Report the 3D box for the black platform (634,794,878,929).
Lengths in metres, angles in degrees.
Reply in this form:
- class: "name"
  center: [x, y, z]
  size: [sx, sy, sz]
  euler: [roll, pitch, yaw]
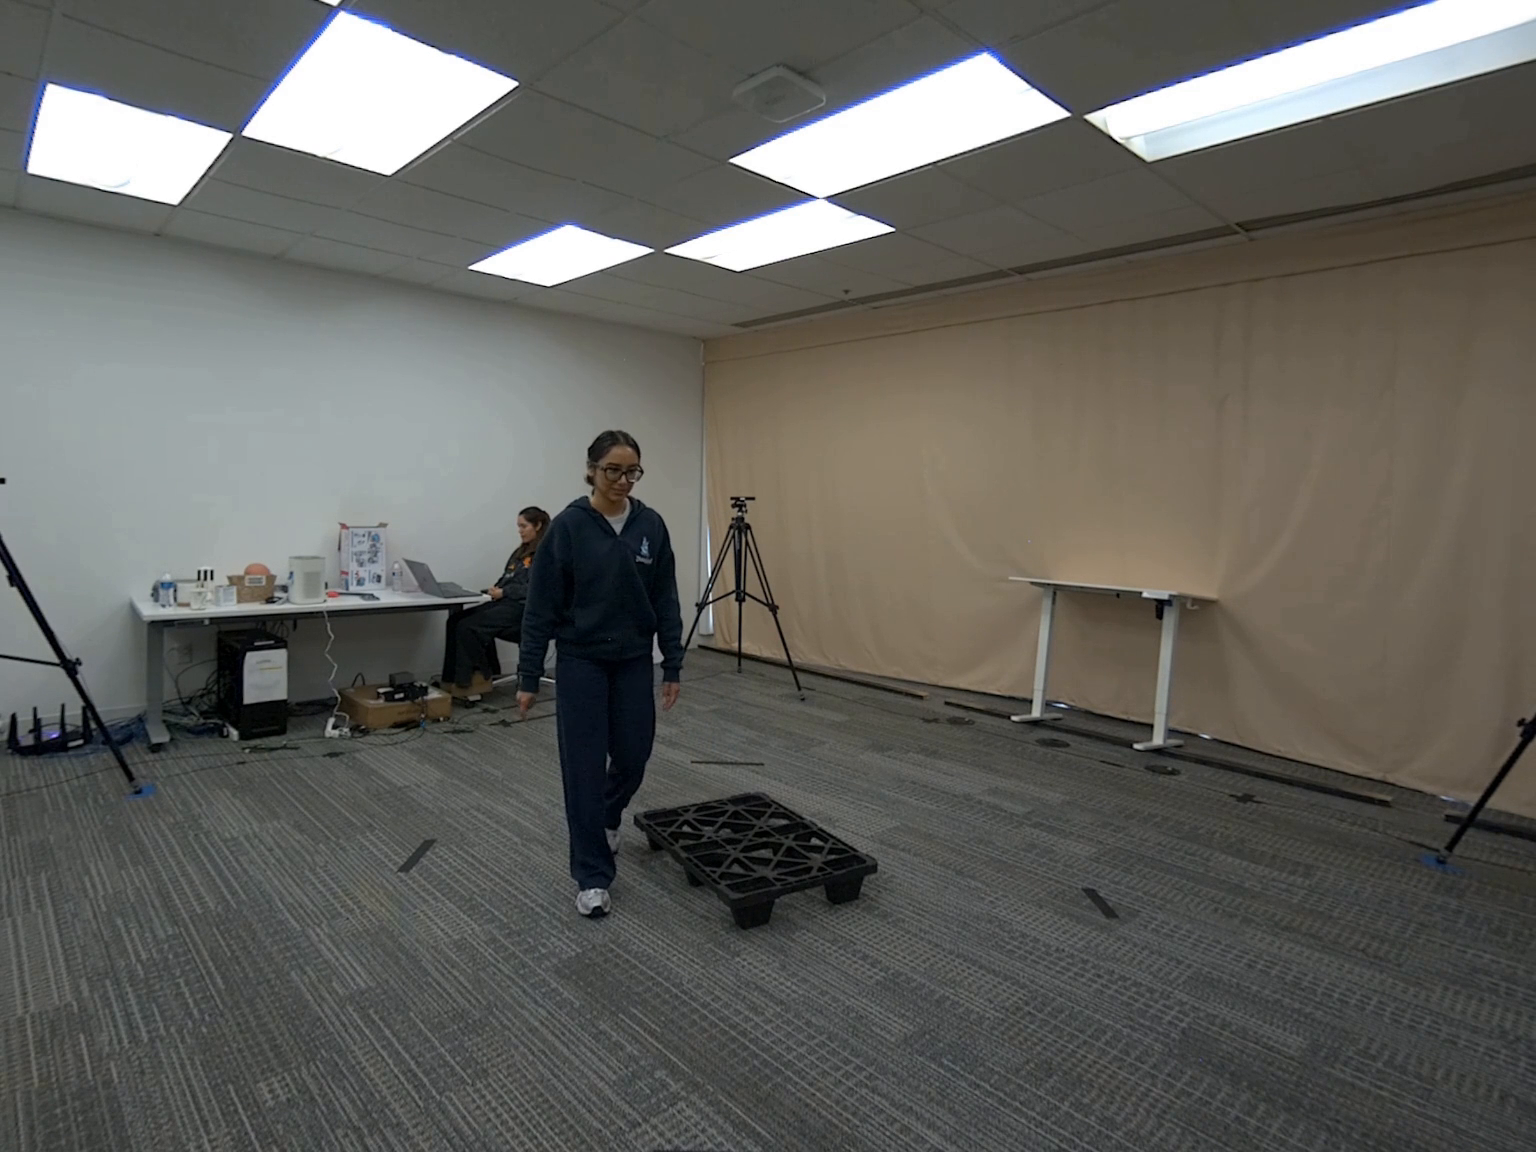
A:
- class: "black platform"
  center: [-0.081, 1.040, 3.144]
  size: [0.593, 0.143, 0.825]
  euler: [-1, 6, -31]
